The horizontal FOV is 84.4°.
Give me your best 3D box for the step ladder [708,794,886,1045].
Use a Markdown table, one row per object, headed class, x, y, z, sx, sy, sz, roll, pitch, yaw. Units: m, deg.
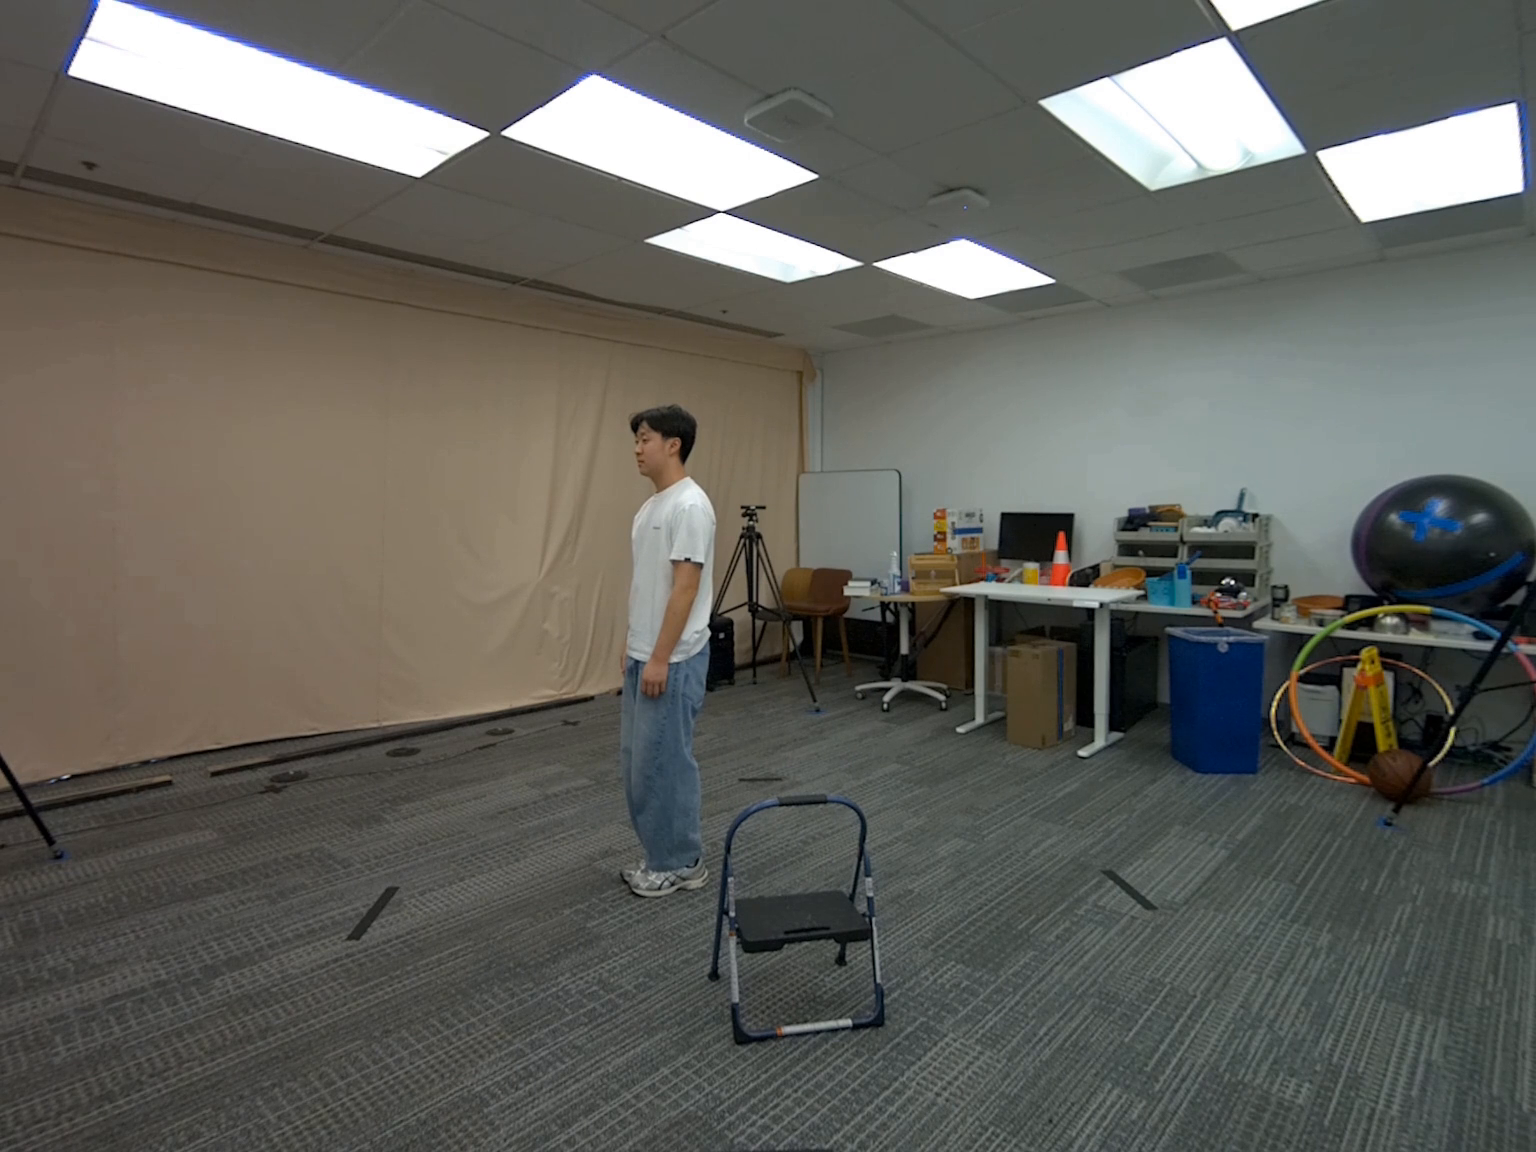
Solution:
| class | x | y | z | sx | sy | sz | roll | pitch | yaw |
| --- | --- | --- | --- | --- | --- | --- | --- | --- | --- |
| step ladder | 0.072 | 0.897 | 2.360 | 0.425 | 0.605 | 0.355 | -1 | 3 | -13 |
